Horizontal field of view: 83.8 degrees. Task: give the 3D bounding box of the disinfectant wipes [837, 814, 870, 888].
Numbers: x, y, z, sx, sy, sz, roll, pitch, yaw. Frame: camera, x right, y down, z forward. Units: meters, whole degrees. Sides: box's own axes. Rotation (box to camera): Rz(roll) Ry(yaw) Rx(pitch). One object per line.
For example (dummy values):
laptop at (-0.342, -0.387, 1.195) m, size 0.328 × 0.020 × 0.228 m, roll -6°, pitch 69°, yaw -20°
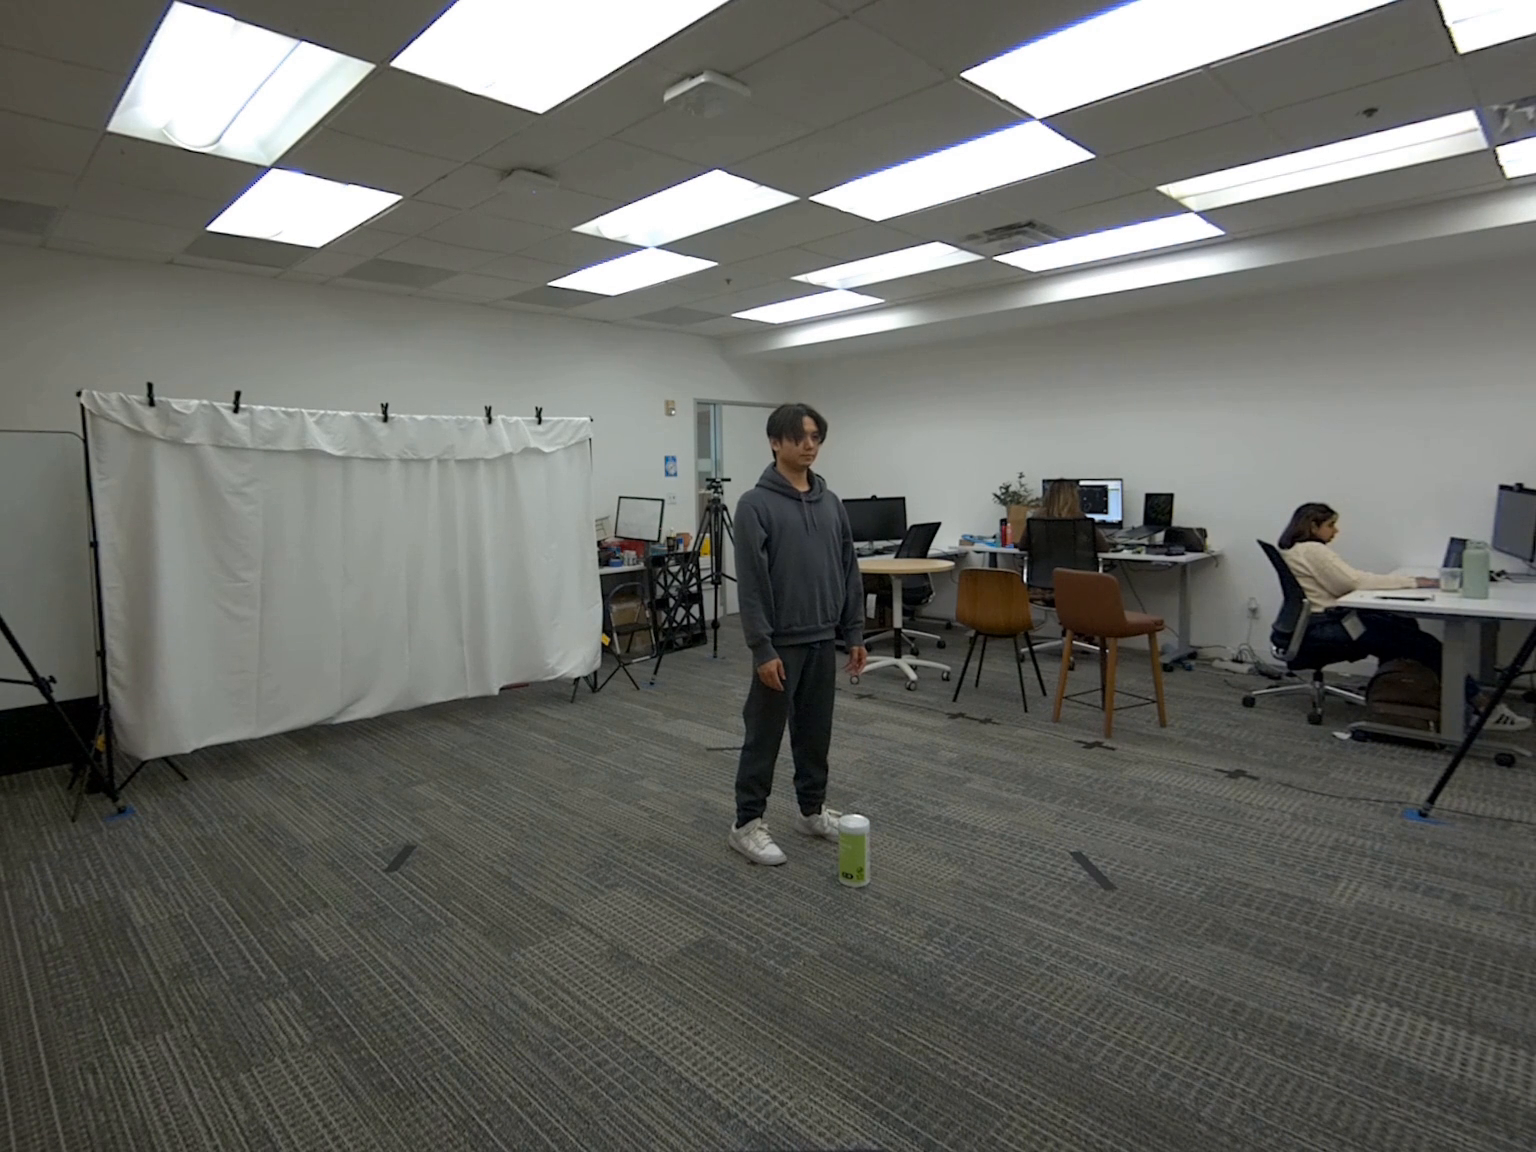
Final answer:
disinfectant wipes at (0.303, 0.950, 2.952) m, size 0.118 × 0.216 × 0.118 m, roll -2°, pitch 5°, yaw -1°
